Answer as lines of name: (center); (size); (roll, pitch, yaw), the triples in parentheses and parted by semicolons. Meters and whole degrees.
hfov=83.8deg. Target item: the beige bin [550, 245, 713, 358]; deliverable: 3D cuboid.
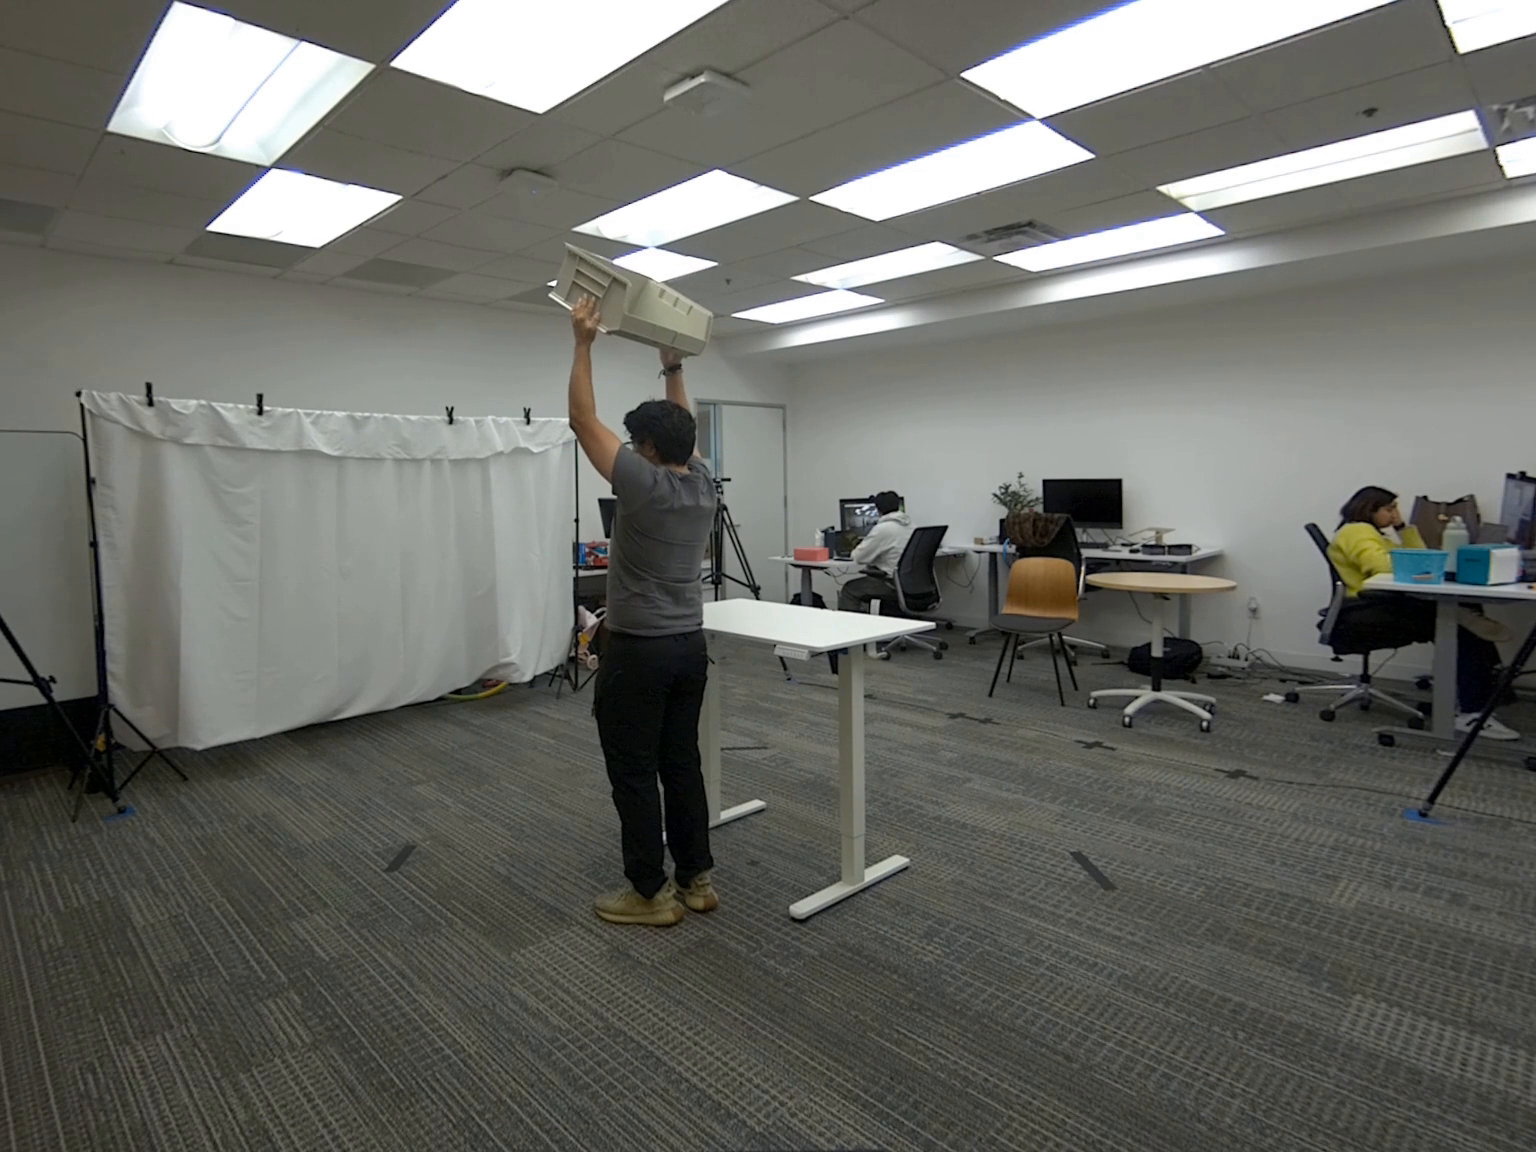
beige bin: (-0.453, -0.899, 2.860); (0.390, 0.188, 0.411); (37, 21, 29)
